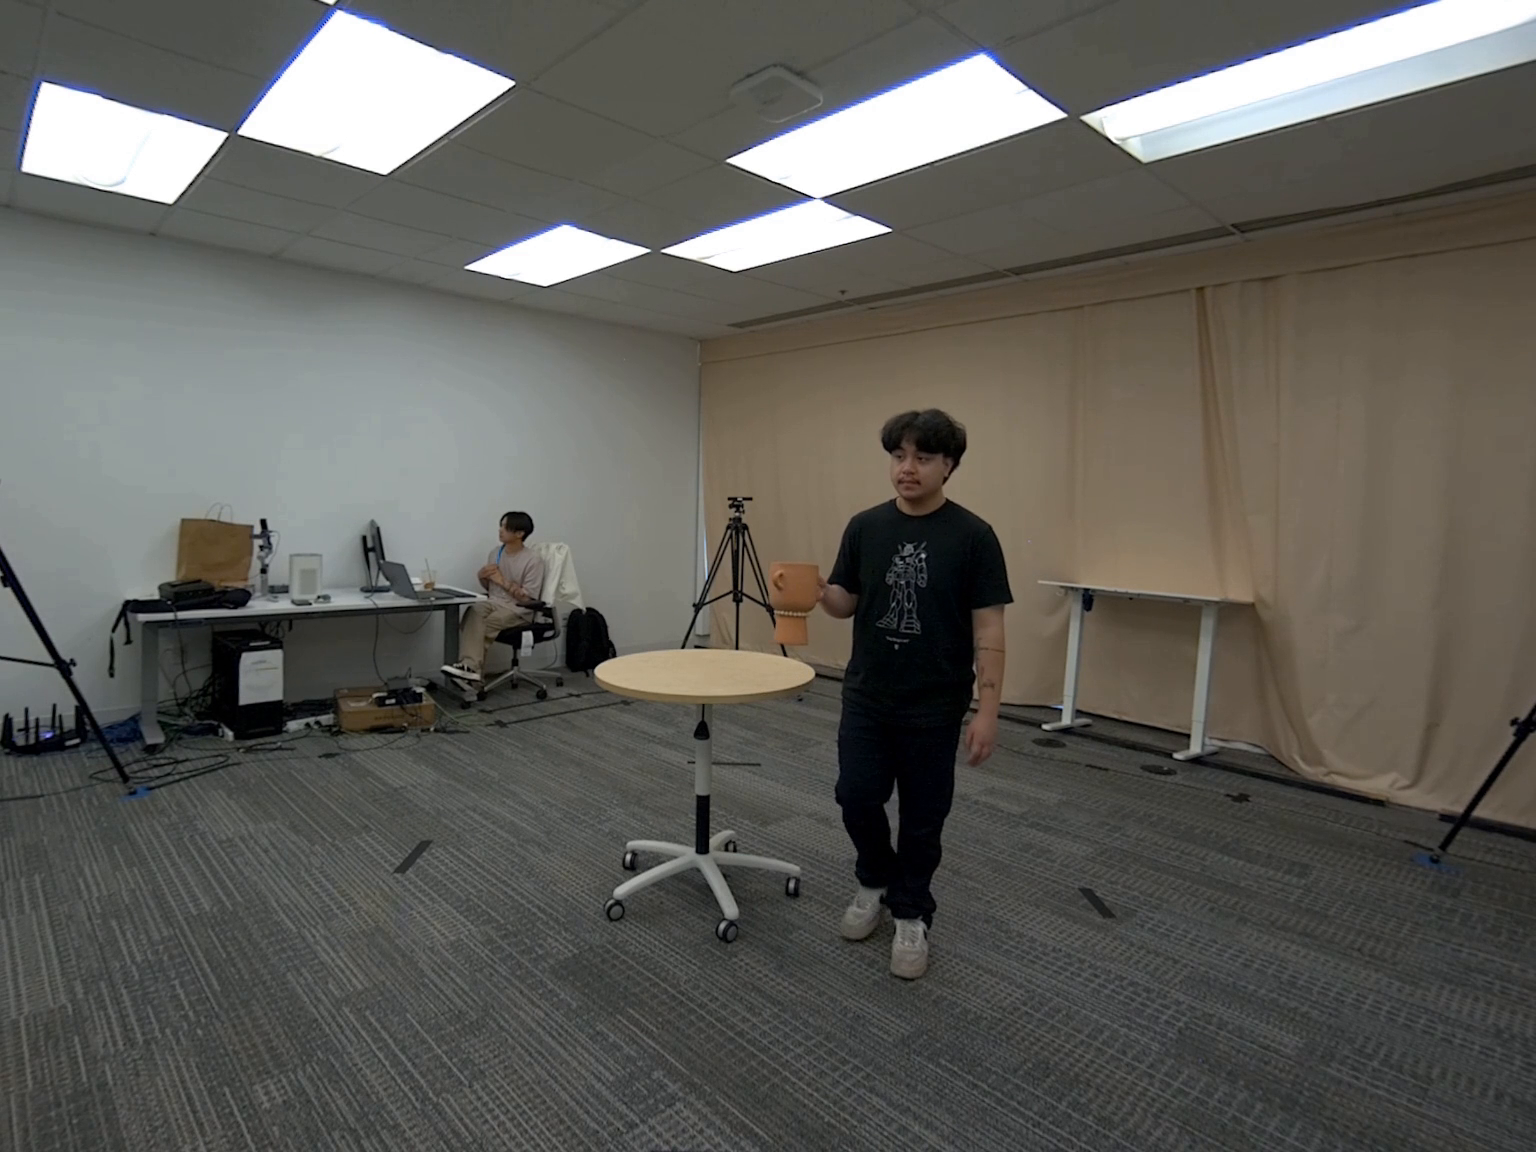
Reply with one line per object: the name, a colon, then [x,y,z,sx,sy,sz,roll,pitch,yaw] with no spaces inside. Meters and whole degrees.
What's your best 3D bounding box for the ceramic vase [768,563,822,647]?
ceramic vase: [0.064,0.078,2.312,0.156,0.220,0.136,6,-2,-18]
